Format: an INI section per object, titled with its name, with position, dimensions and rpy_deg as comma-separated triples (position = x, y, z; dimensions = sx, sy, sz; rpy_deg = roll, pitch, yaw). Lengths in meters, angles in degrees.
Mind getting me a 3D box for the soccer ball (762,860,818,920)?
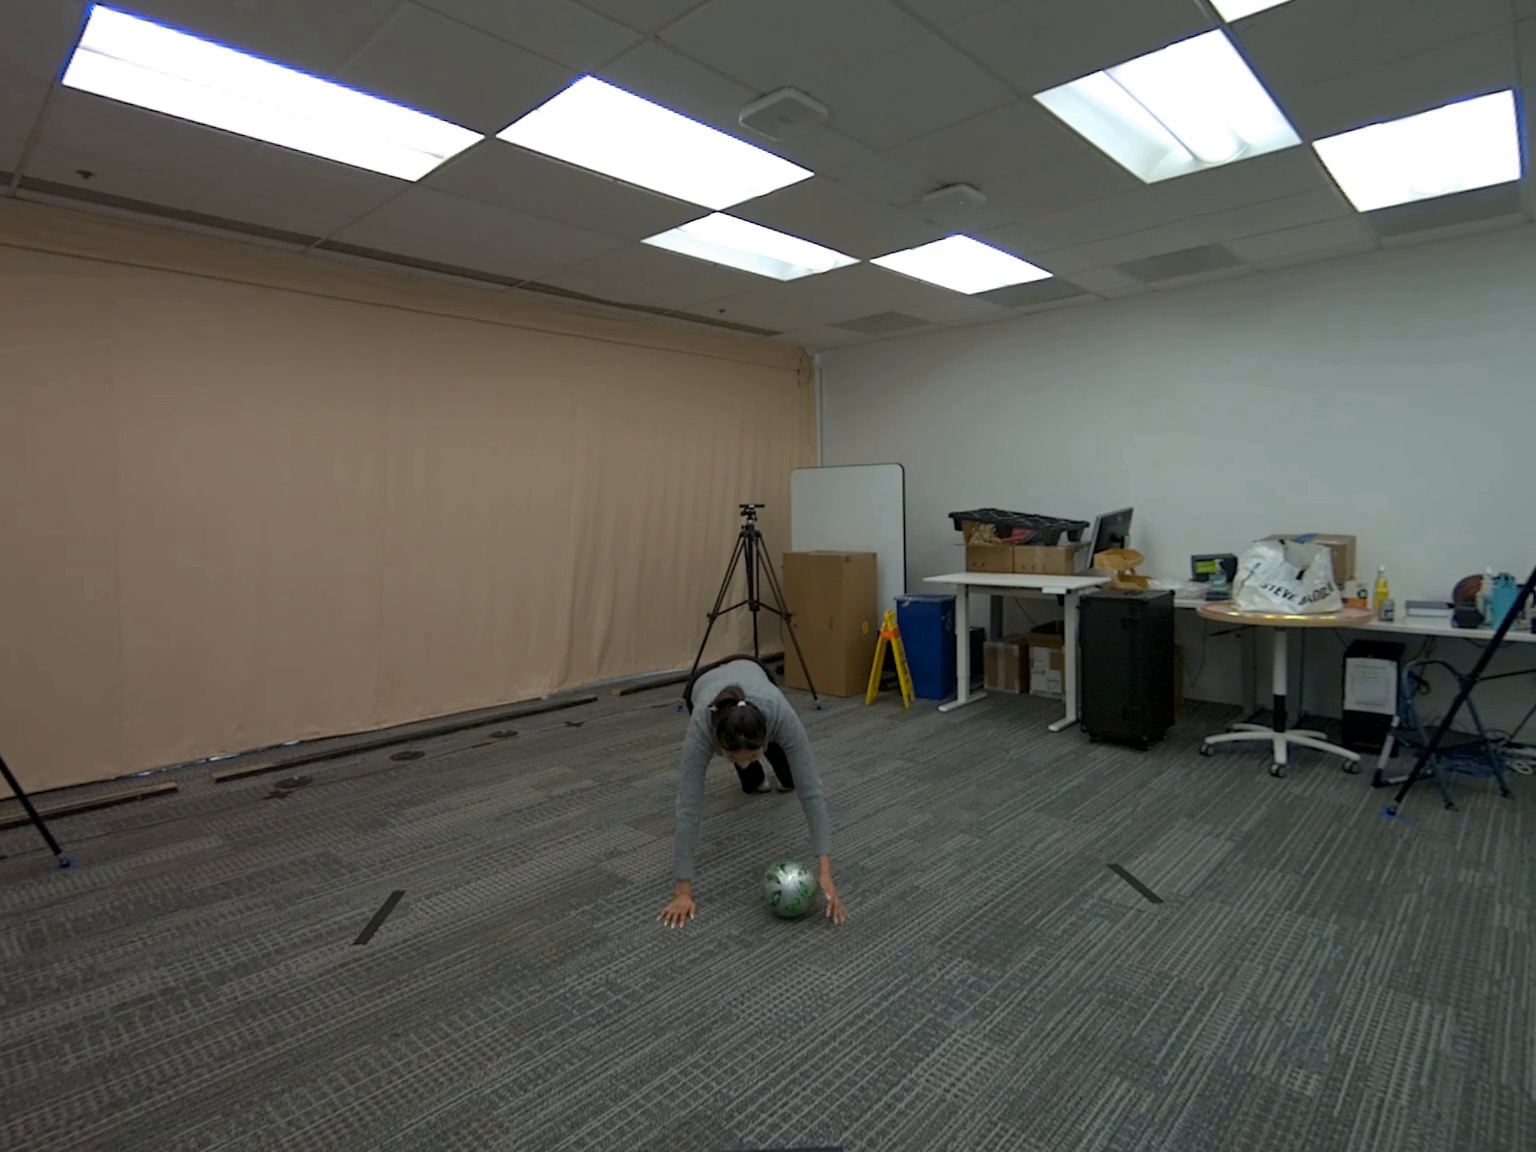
[soccer ball]
position = 0.072, 1.051, 2.857
dimensions = 0.187, 0.187, 0.188
rpy_deg = -1, 4, -2
